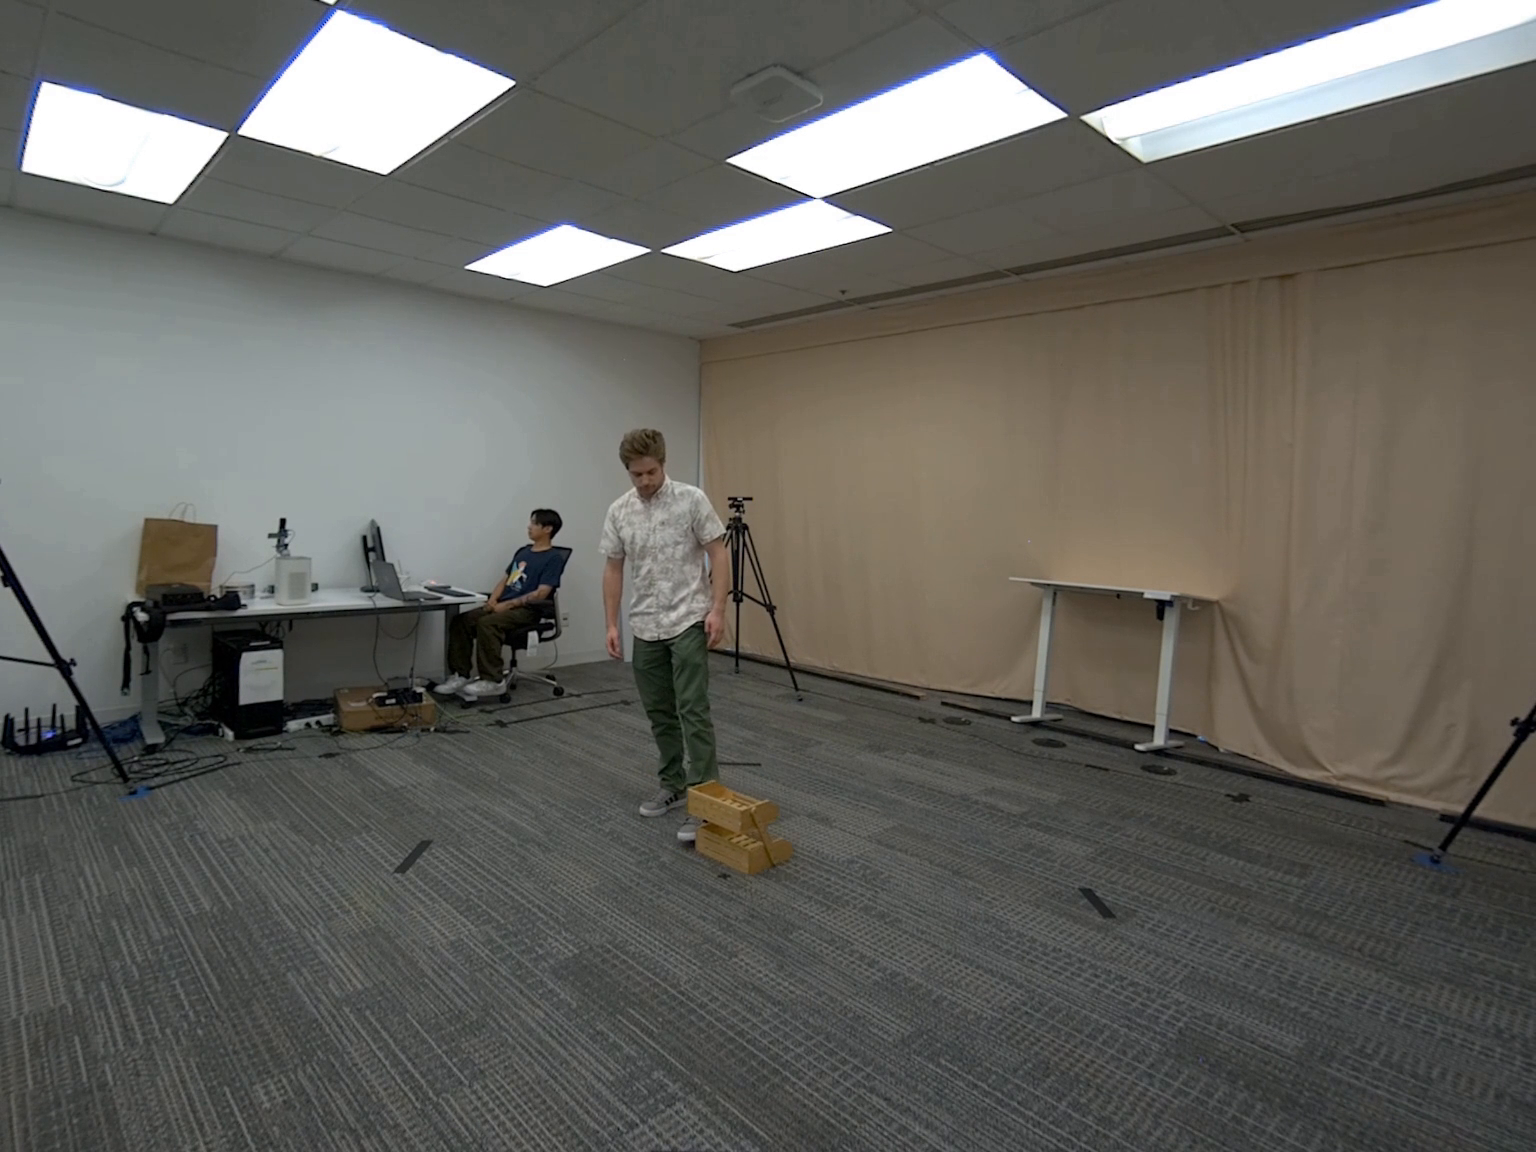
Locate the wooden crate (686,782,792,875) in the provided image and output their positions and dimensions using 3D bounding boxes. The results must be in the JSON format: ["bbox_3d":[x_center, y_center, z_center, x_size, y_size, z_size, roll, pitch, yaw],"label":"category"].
[{"bbox_3d":[-0.113,0.959,3.283,0.333,0.272,0.295,5,7,43],"label":"wooden crate"}]
